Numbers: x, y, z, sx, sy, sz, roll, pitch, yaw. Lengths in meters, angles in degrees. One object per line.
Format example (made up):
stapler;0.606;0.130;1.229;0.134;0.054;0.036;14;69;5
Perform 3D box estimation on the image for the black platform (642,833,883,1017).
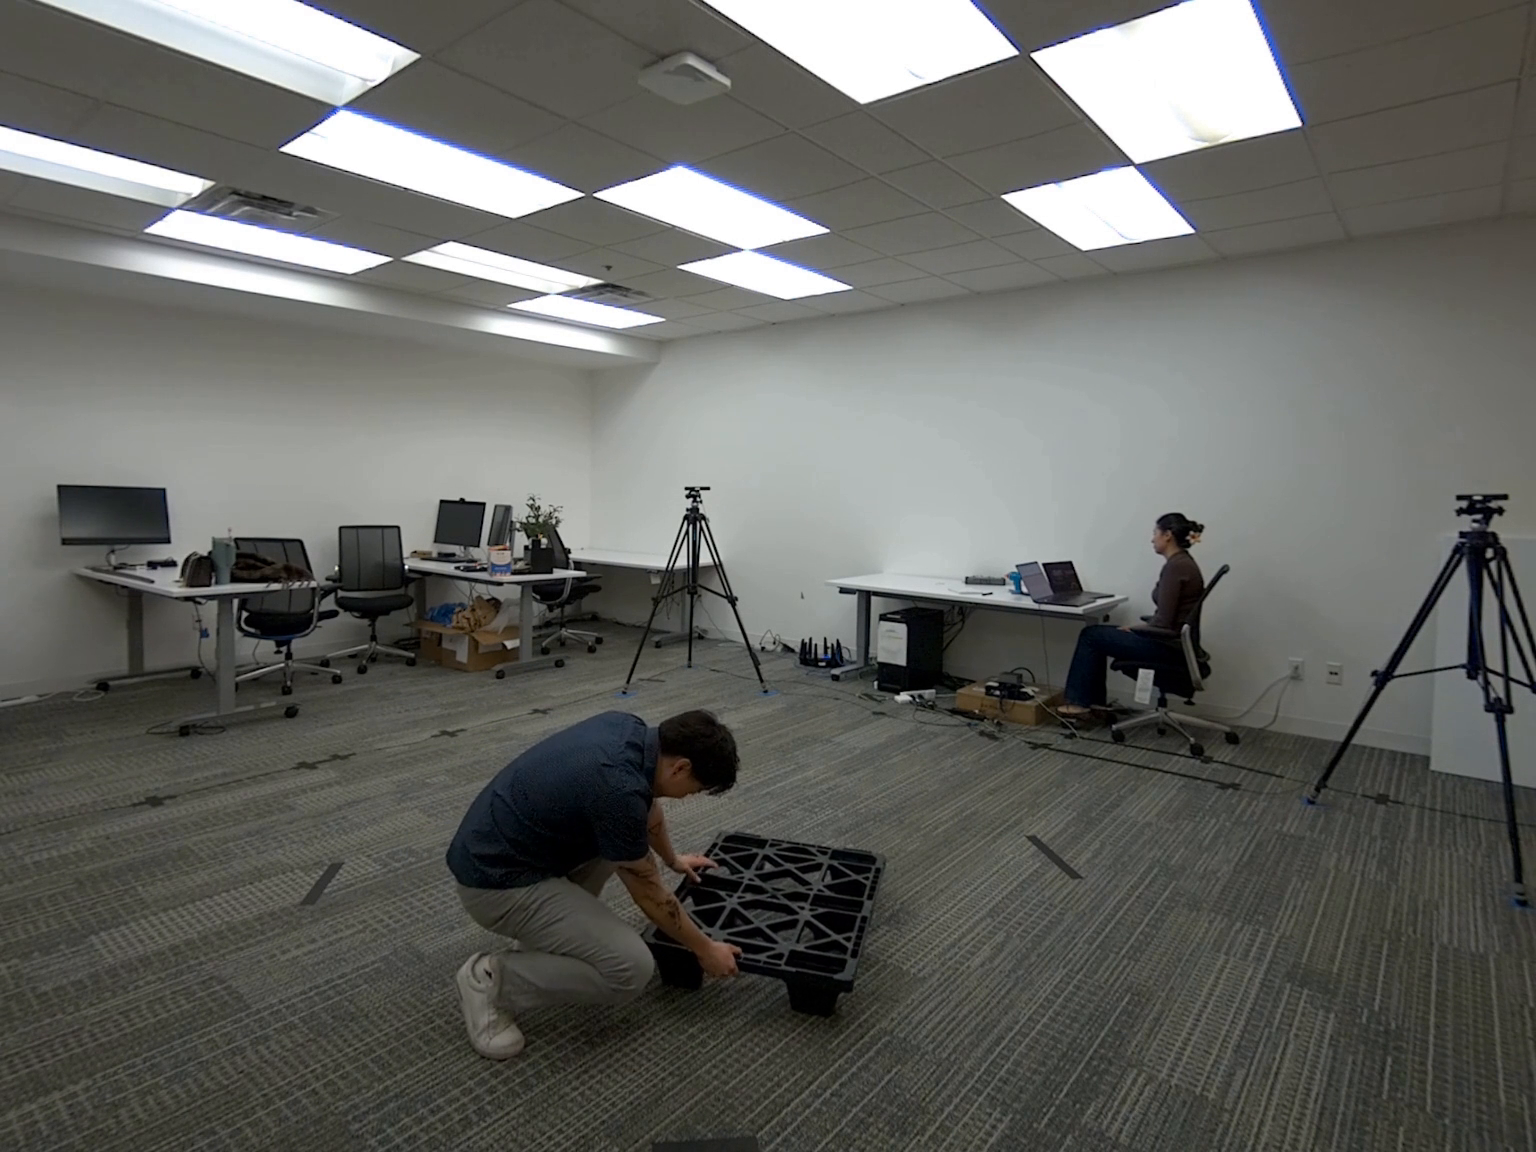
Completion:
black platform;0.018;1.045;2.657;0.616;0.142;0.795;4;7;15
